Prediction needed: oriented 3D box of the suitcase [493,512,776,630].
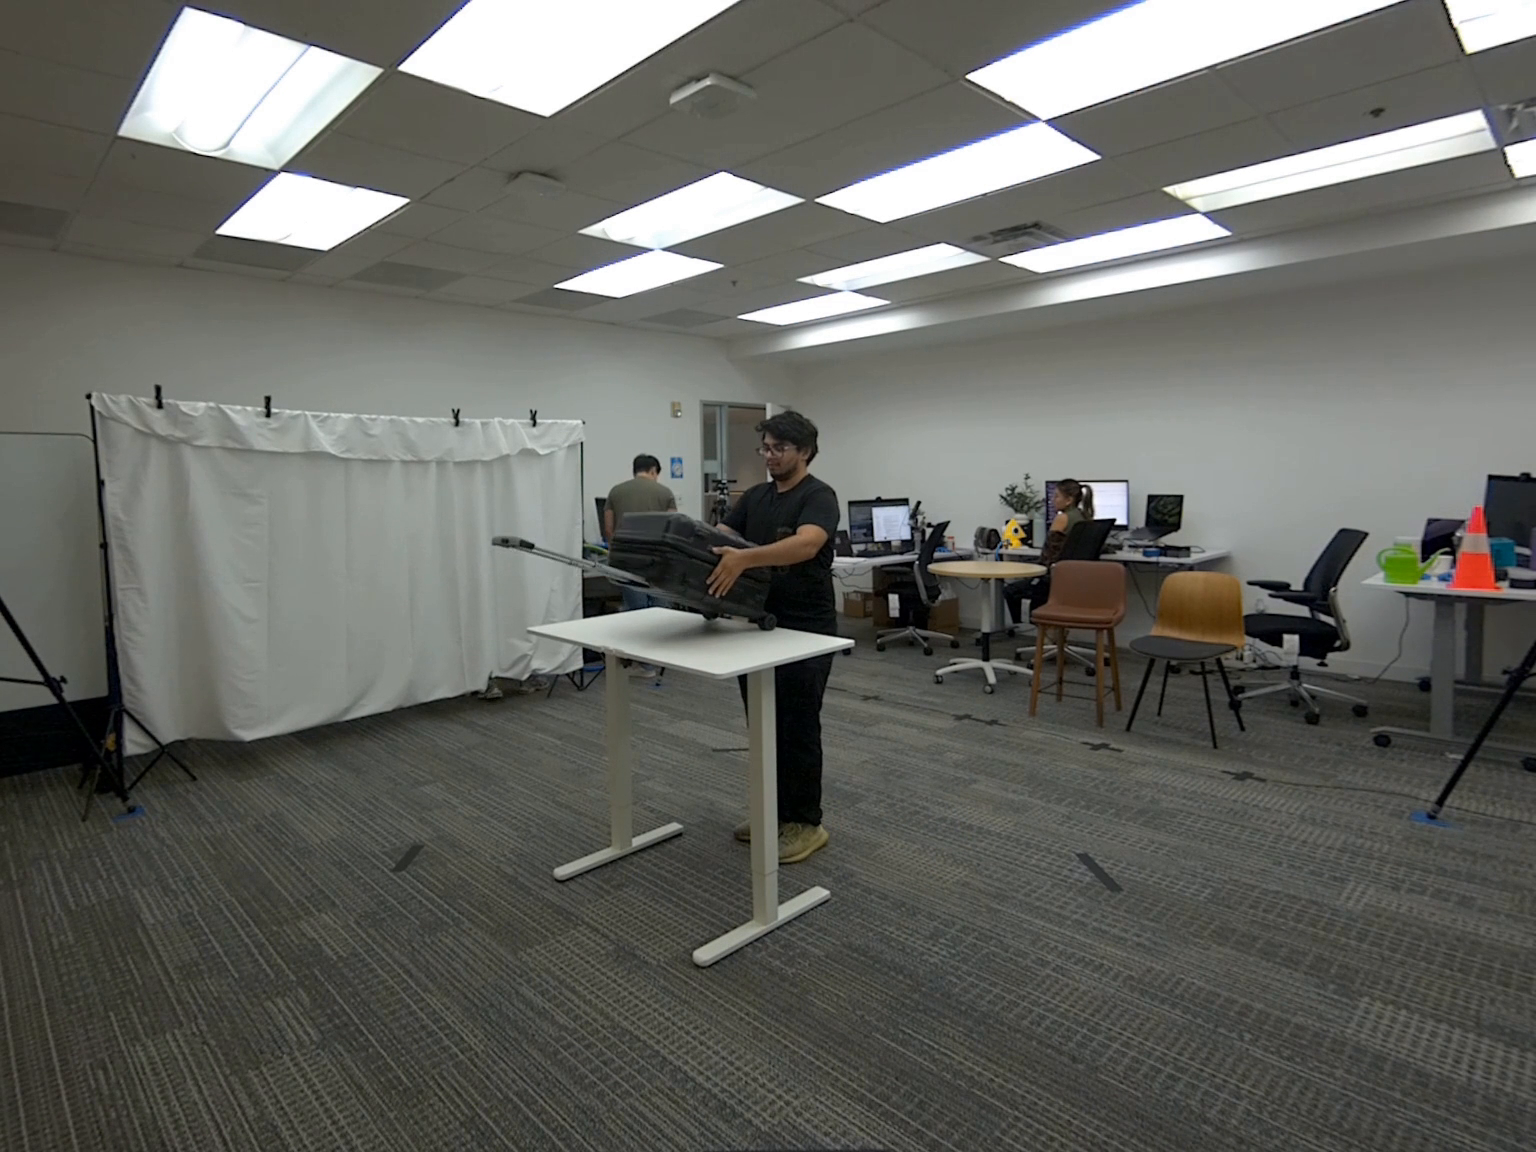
[{"bbox_3d":[-0.387,-0.081,2.738,0.396,0.258,0.942,6,-12,46],"label":"suitcase"}]
